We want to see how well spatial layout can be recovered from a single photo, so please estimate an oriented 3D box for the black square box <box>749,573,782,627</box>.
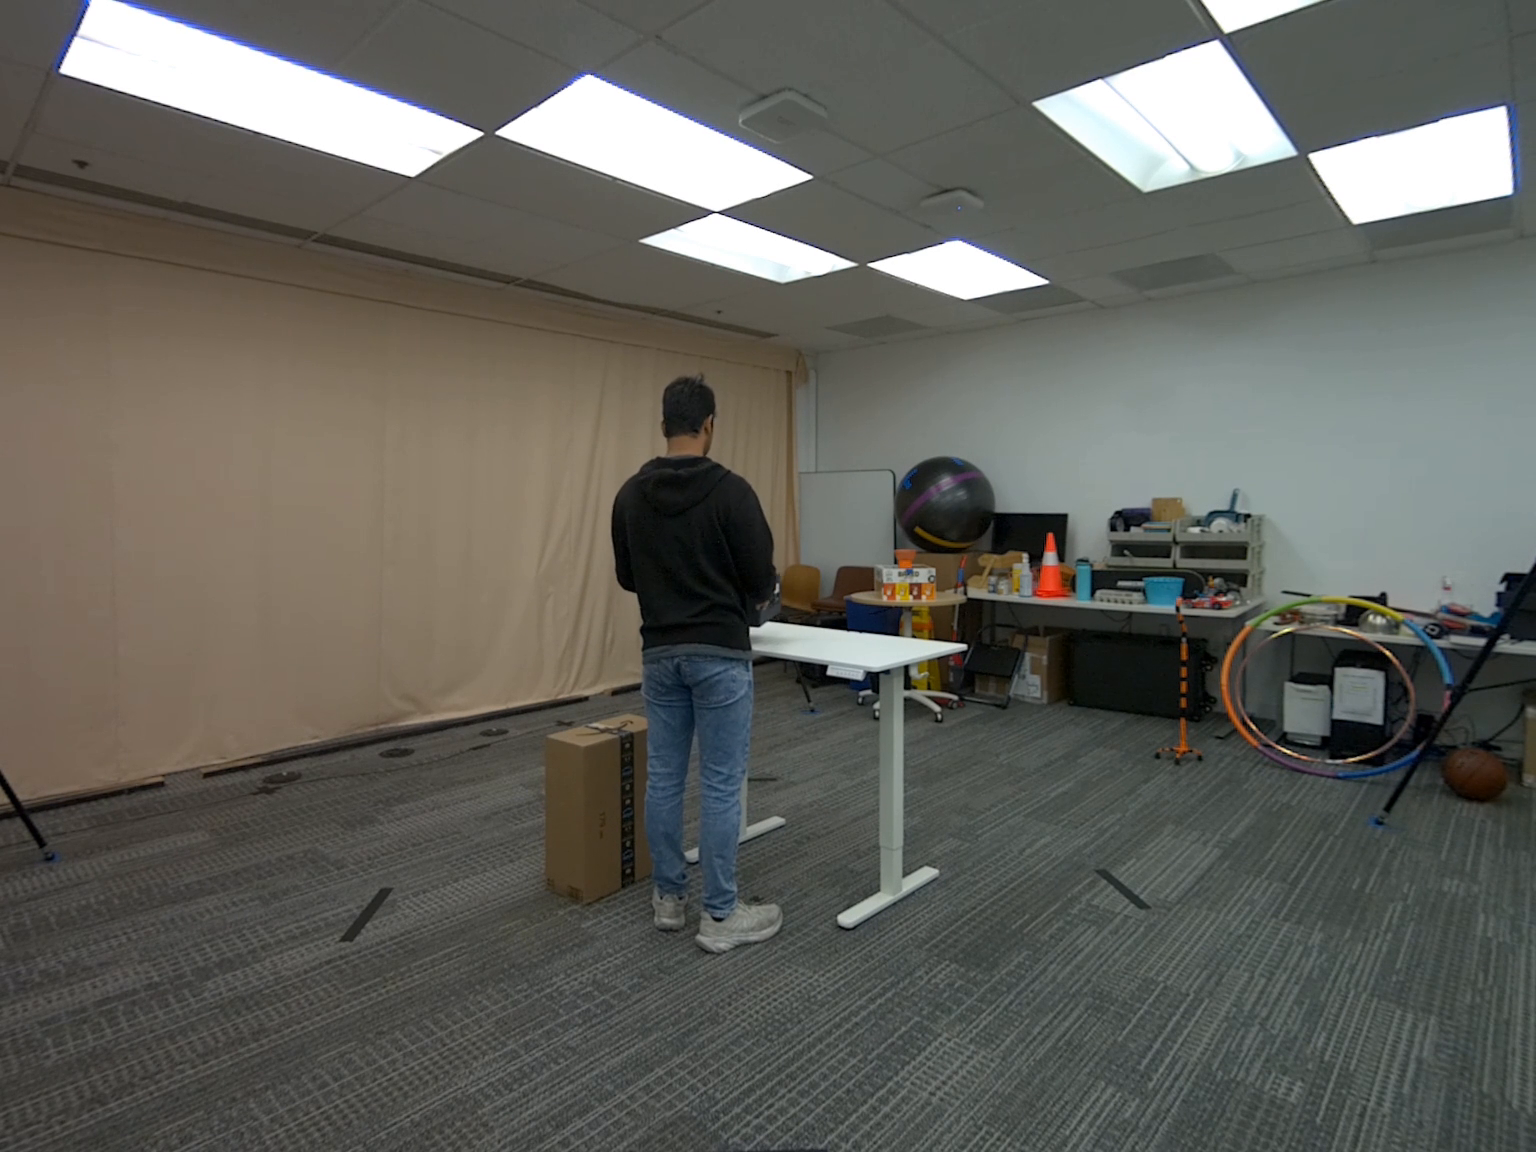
[{"bbox_3d":[-0.097,0.084,3.205,0.233,0.154,0.214,4,14,21],"label":"black square box"}]
